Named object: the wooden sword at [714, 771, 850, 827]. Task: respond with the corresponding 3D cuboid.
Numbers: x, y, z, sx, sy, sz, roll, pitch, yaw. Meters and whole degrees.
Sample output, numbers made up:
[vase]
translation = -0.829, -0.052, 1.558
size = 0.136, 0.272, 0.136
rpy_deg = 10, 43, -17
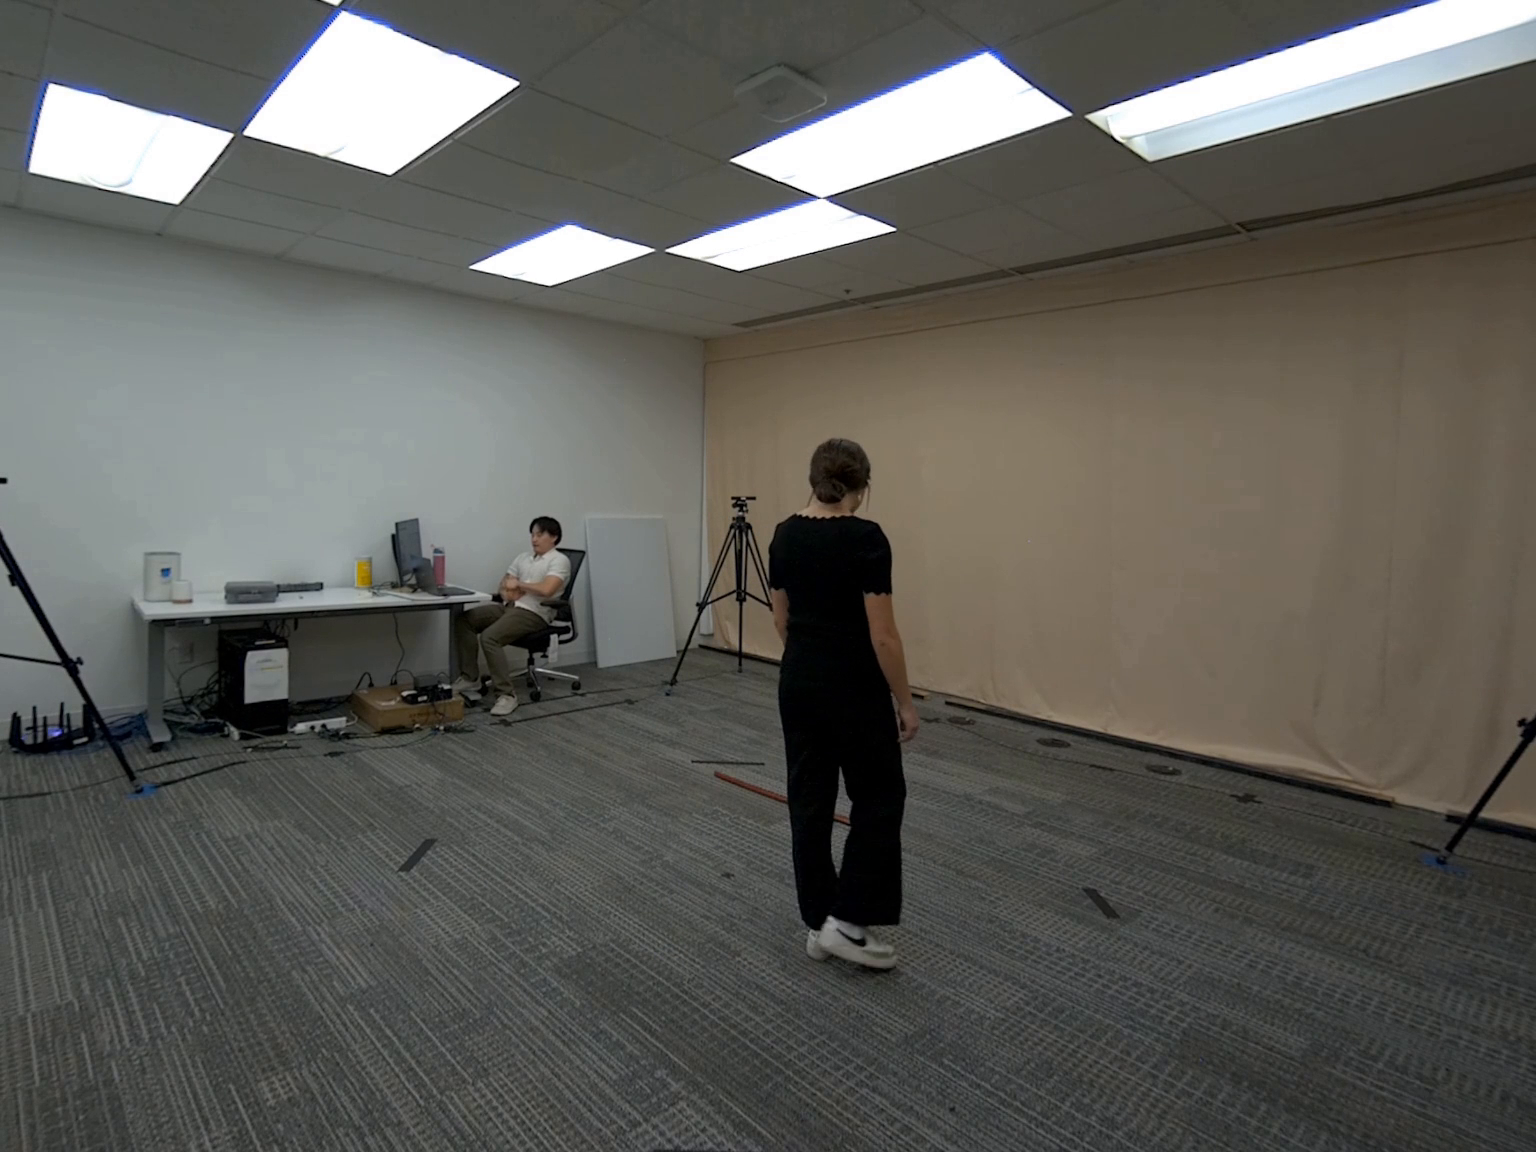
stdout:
[wooden sword]
translation = 0.076, 1.022, 3.875
size = 1.051, 0.024, 0.050
rpy_deg = 6, 17, 44
